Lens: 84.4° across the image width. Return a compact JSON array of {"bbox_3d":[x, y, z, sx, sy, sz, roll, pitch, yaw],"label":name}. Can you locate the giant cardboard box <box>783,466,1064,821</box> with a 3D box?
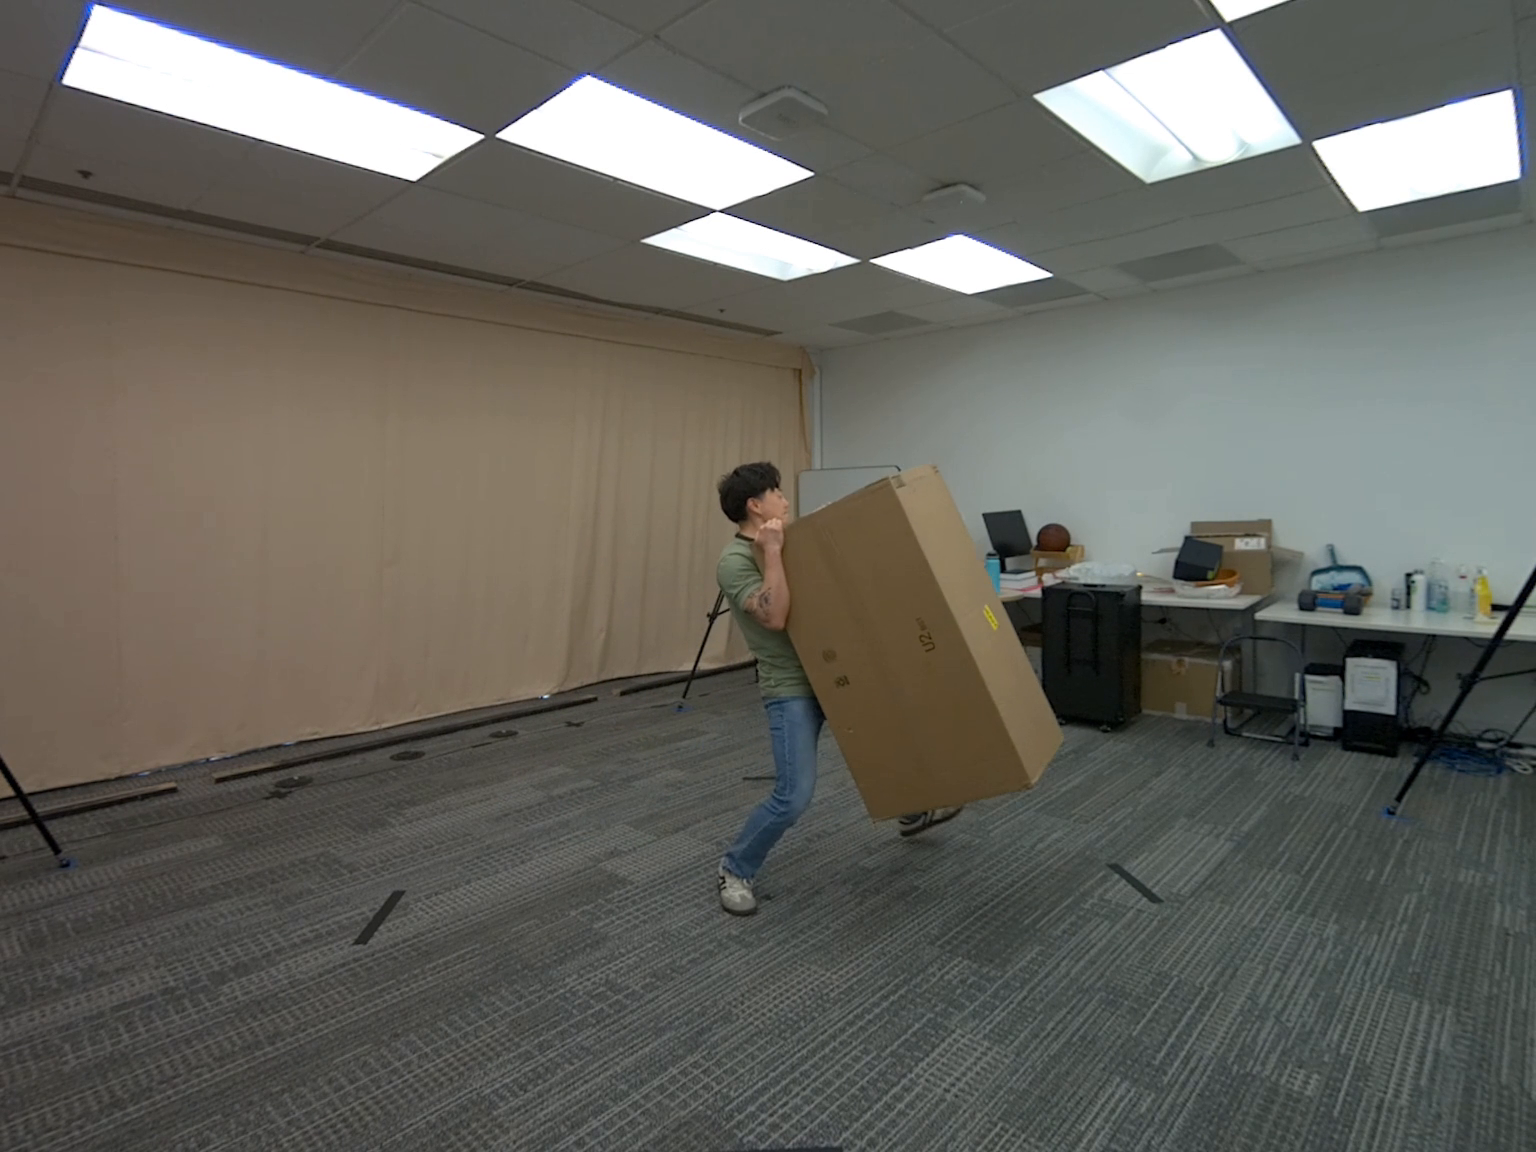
[{"bbox_3d":[0.477,0.228,2.849,0.589,1.030,0.416,-26,-4,34],"label":"giant cardboard box"}]
